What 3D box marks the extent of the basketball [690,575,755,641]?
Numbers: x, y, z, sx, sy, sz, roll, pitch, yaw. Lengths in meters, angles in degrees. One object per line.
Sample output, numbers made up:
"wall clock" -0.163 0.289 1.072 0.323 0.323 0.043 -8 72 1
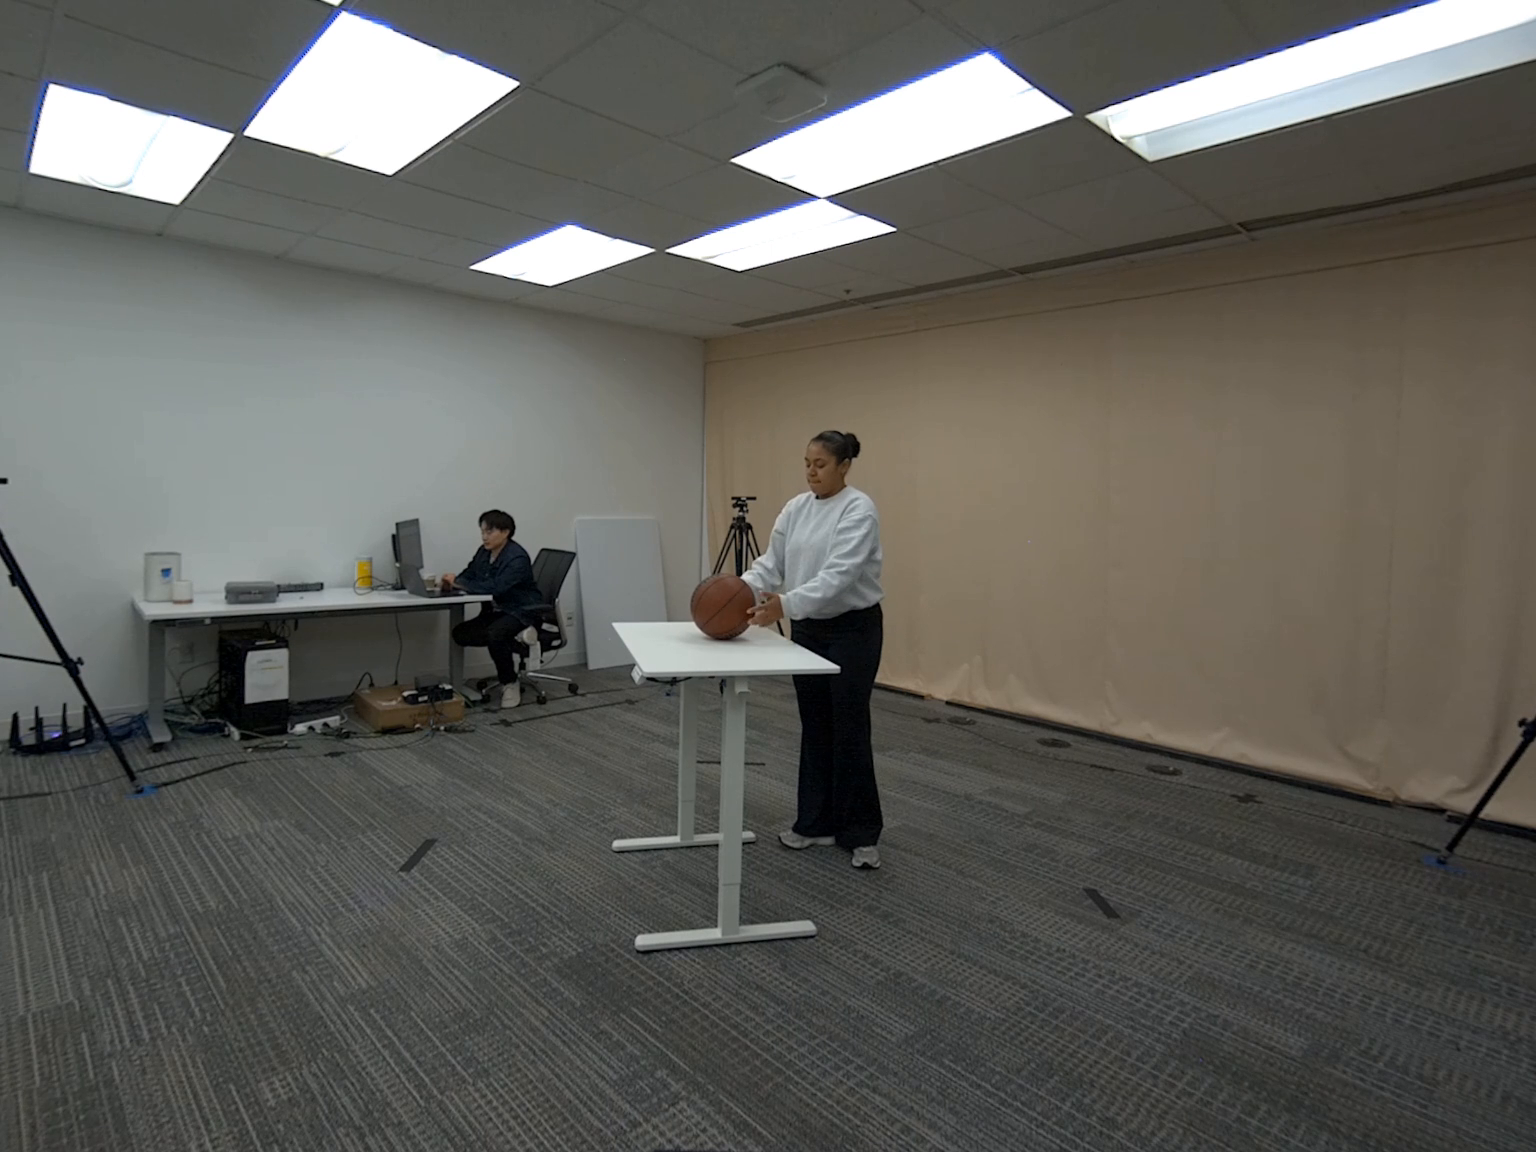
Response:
"basketball" -0.170 0.109 3.047 0.236 0.235 0.237 1 4 -1
